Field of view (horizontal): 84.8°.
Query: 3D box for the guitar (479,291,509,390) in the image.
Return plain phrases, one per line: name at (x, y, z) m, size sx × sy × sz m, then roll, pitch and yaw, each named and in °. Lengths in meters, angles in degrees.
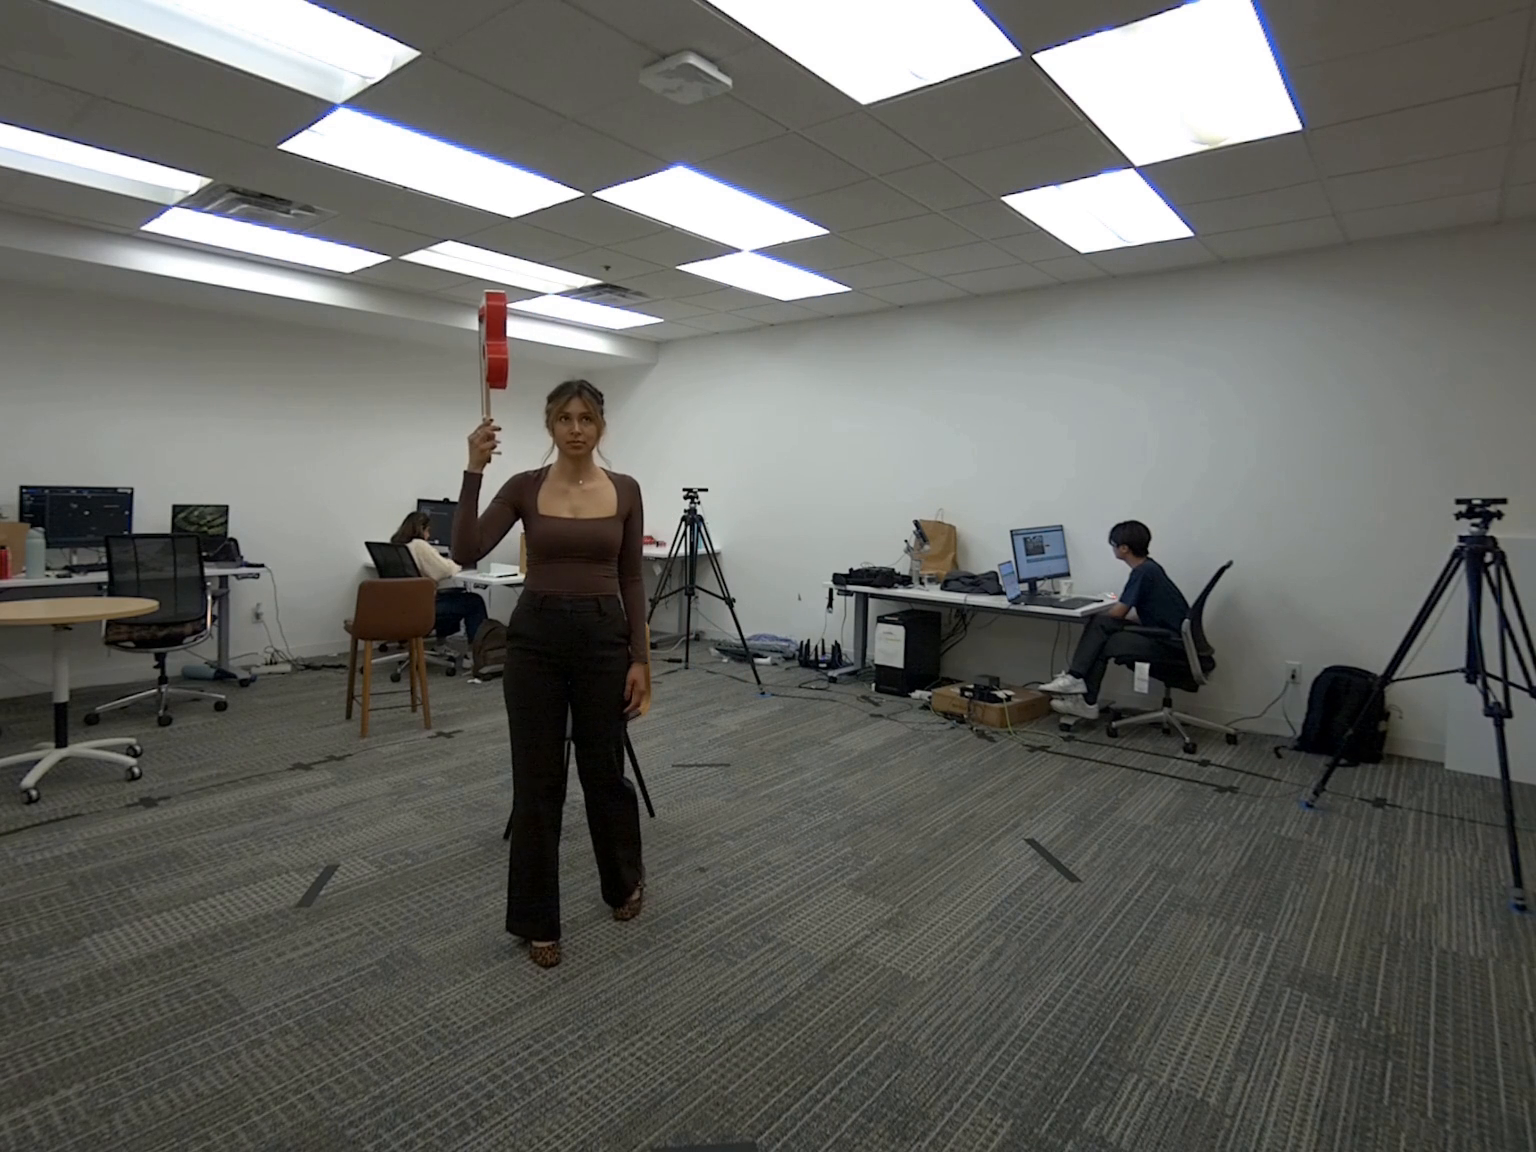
guitar at (-0.816, -0.573, 2.494) m, size 0.069 × 0.498 × 0.197 m, roll -1°, pitch 0°, yaw -24°
